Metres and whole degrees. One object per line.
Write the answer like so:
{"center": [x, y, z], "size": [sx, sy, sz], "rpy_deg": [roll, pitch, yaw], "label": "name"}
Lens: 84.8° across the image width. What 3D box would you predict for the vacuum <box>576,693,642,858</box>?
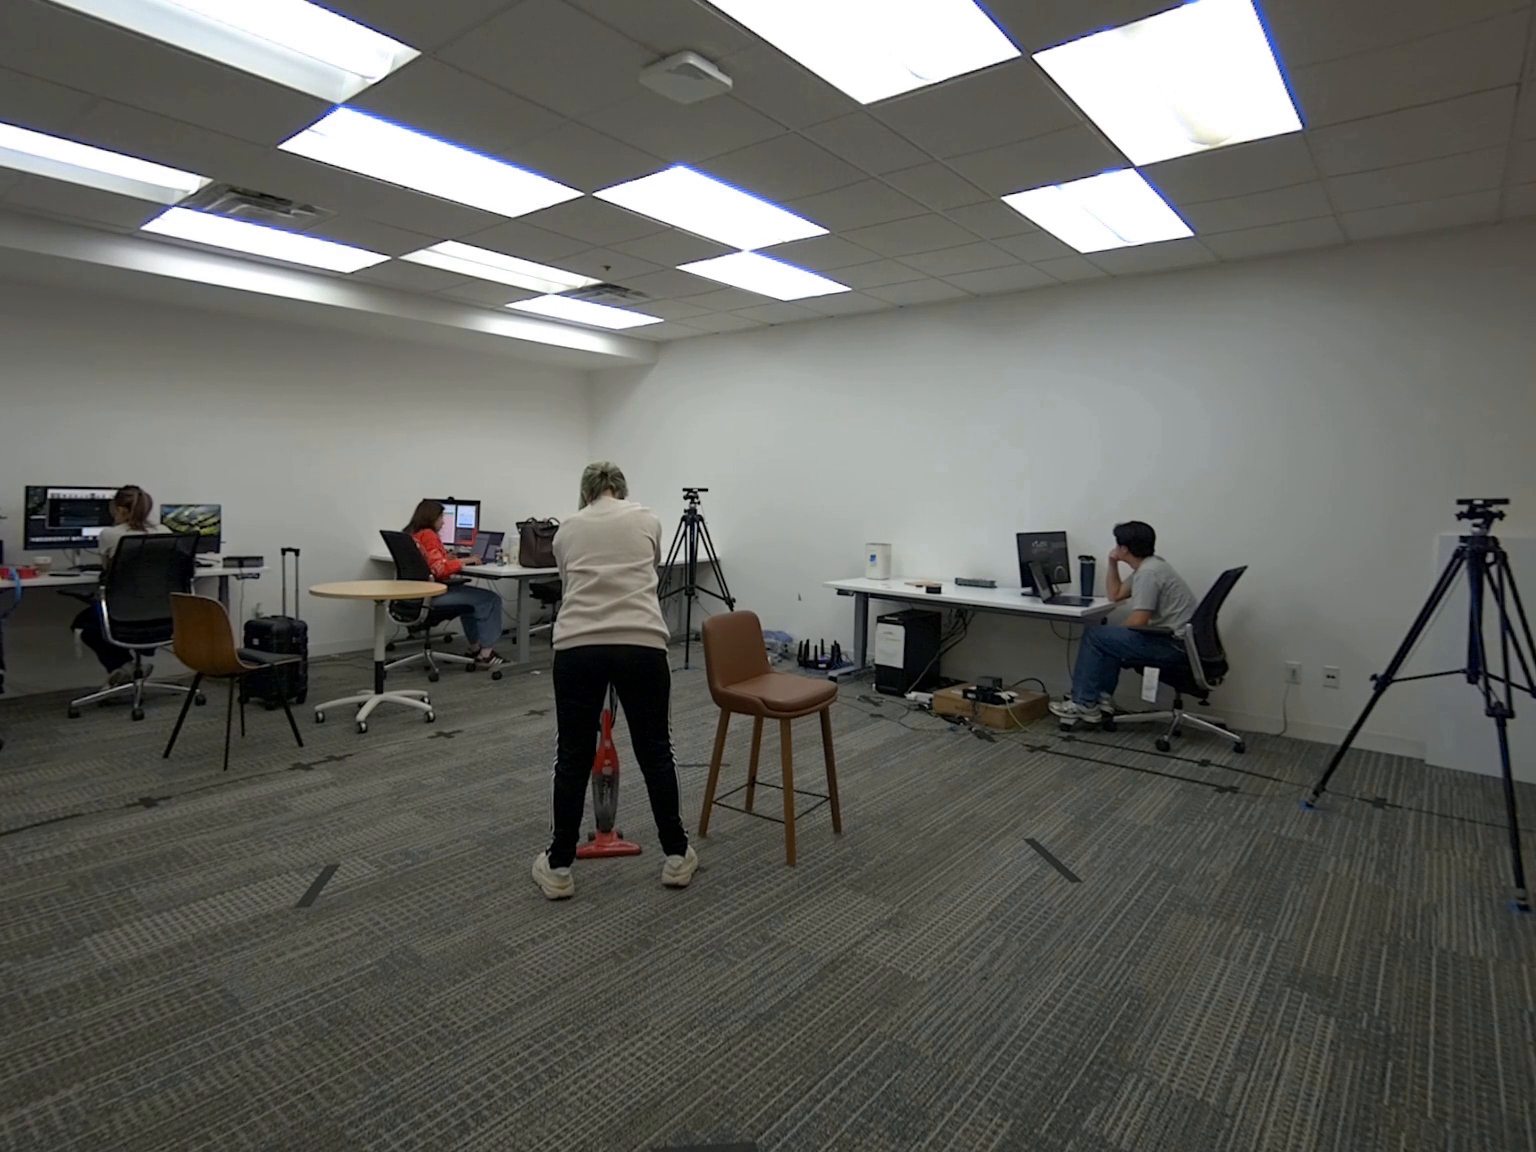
{"center": [-0.669, 0.551, 3.448], "size": [0.248, 1.072, 0.143], "rpy_deg": [2, -22, -18], "label": "vacuum"}
